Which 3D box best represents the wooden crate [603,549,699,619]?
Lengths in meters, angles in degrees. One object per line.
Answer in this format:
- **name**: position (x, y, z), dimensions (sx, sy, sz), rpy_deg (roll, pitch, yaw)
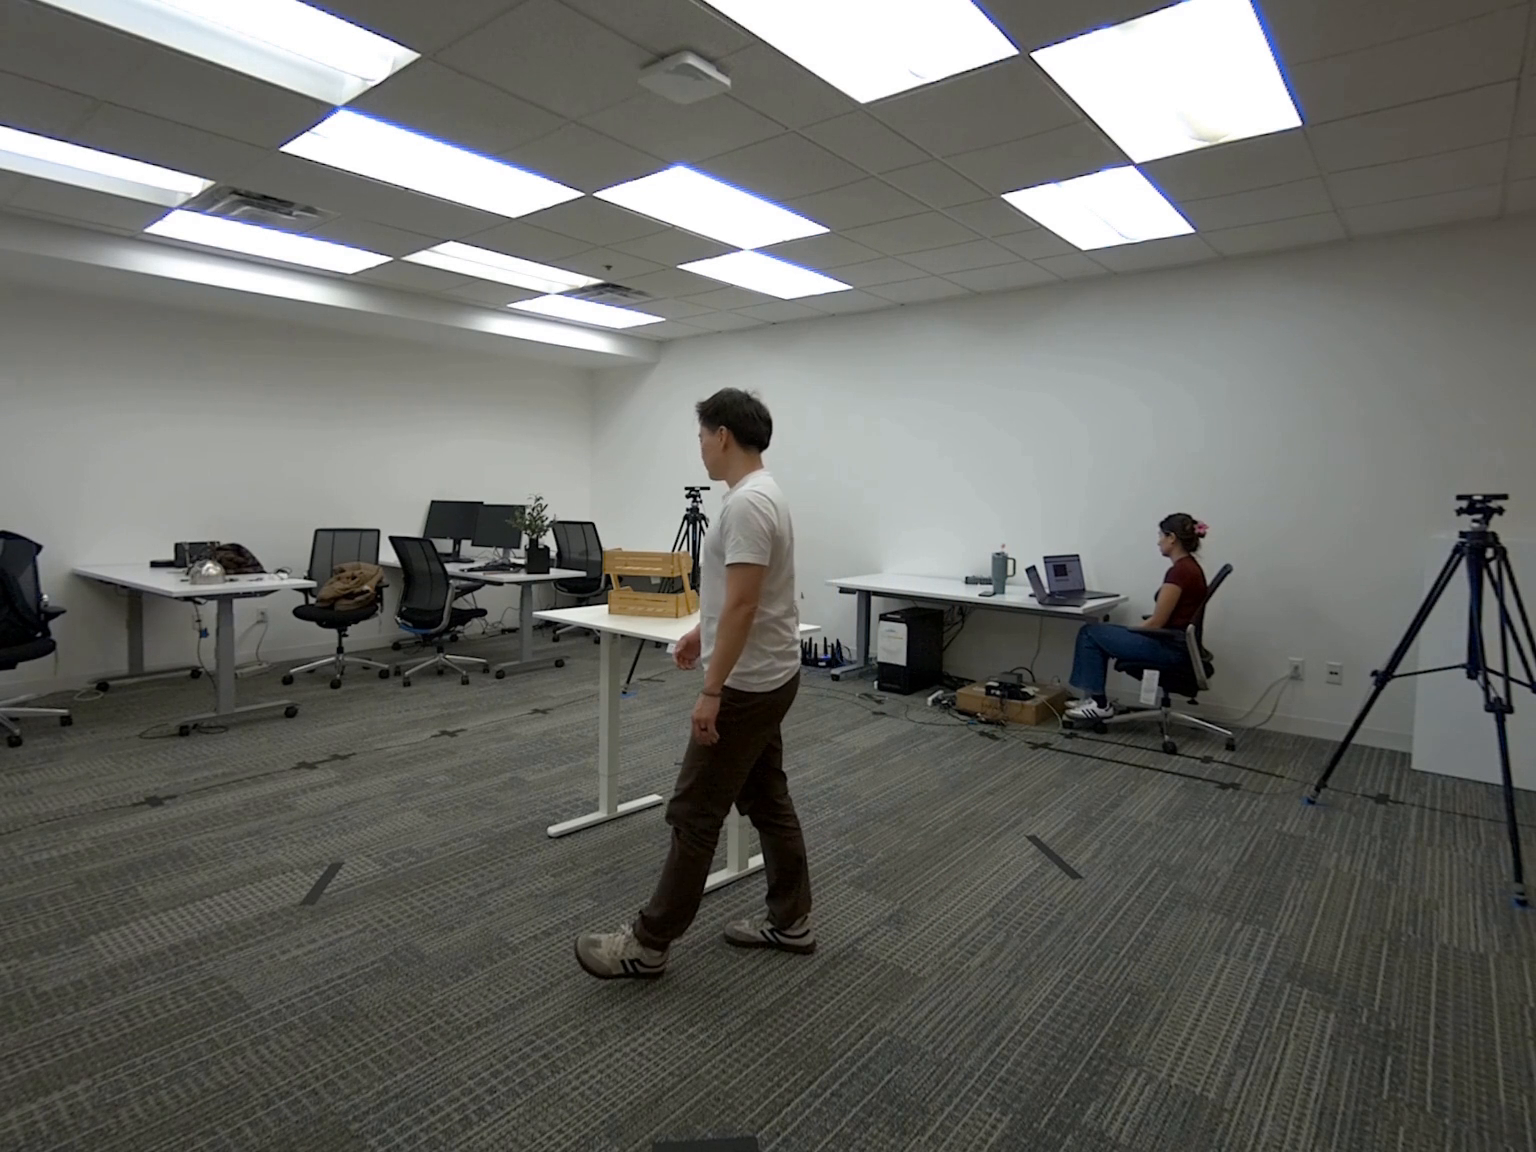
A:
- **wooden crate**: position (-0.479, 0.014, 3.442), dimensions (0.330, 0.272, 0.298), rpy_deg (2, 6, 17)
